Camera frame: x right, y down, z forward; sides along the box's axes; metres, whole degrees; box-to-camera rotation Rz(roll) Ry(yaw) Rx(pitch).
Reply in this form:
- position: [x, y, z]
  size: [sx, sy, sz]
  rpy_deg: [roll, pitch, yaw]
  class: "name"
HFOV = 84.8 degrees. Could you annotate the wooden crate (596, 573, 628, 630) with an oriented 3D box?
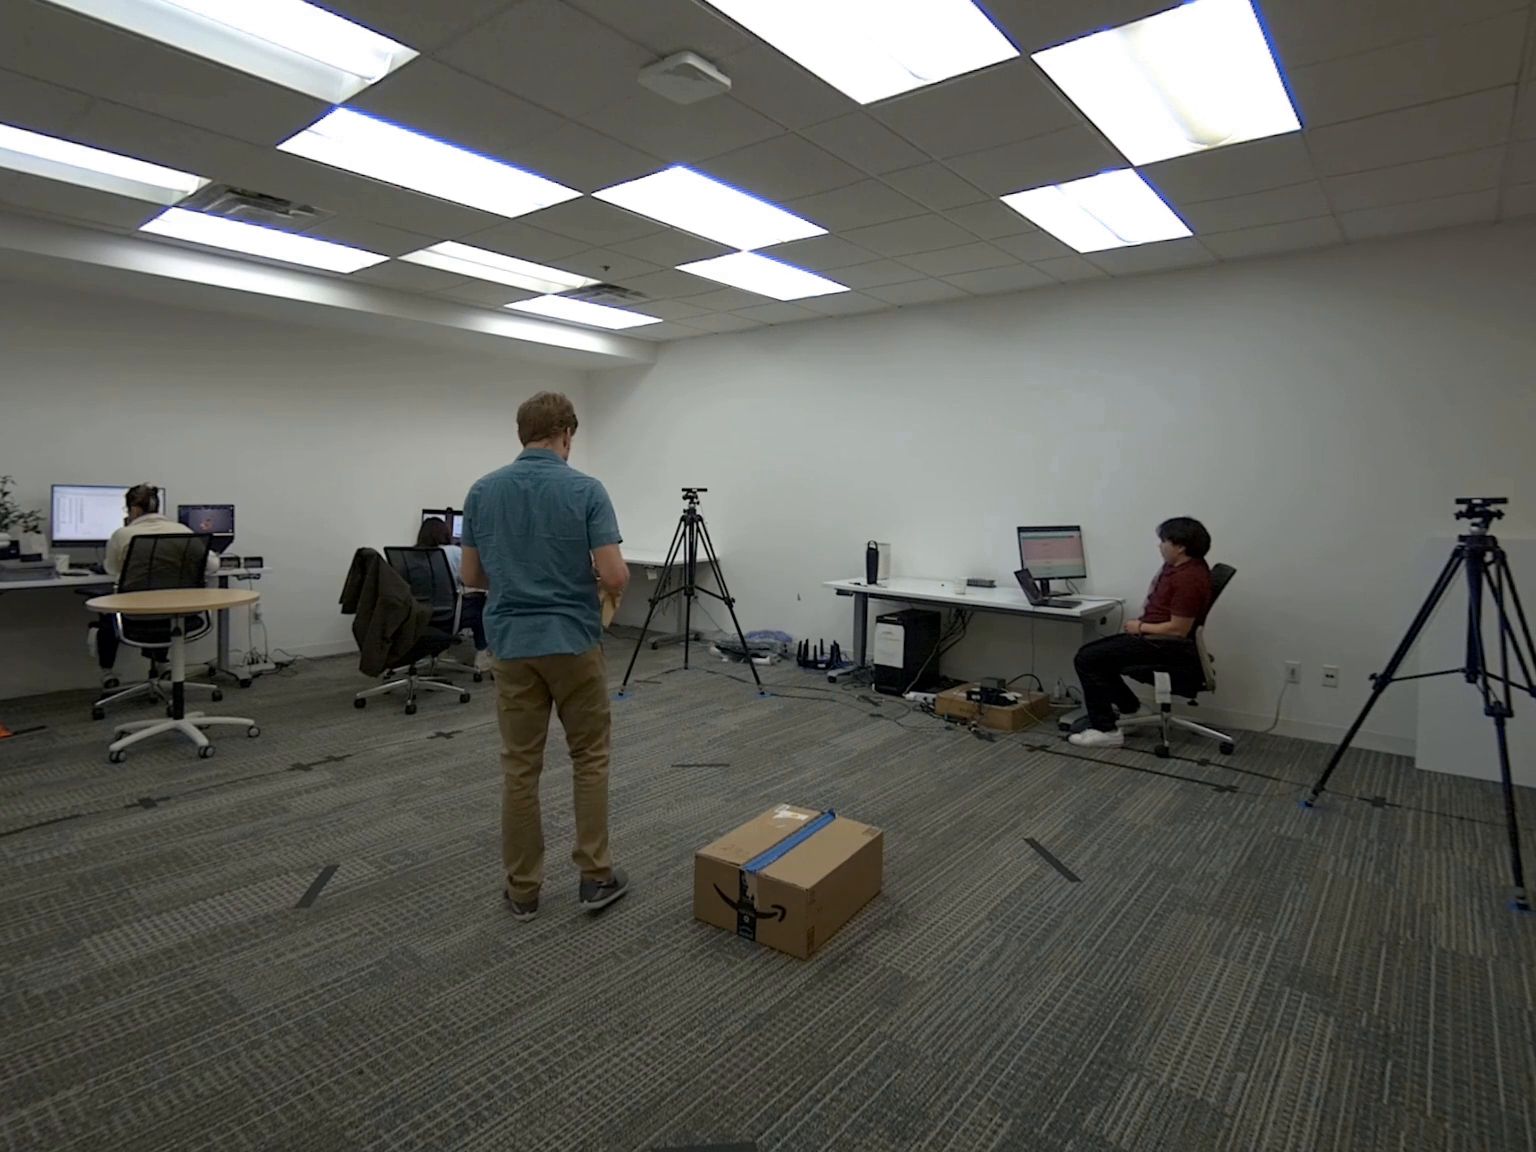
- position: [-0.705, -0.007, 3.031]
  size: [0.330, 0.264, 0.307]
  rpy_deg: [0, 41, 16]
  class: "wooden crate"
